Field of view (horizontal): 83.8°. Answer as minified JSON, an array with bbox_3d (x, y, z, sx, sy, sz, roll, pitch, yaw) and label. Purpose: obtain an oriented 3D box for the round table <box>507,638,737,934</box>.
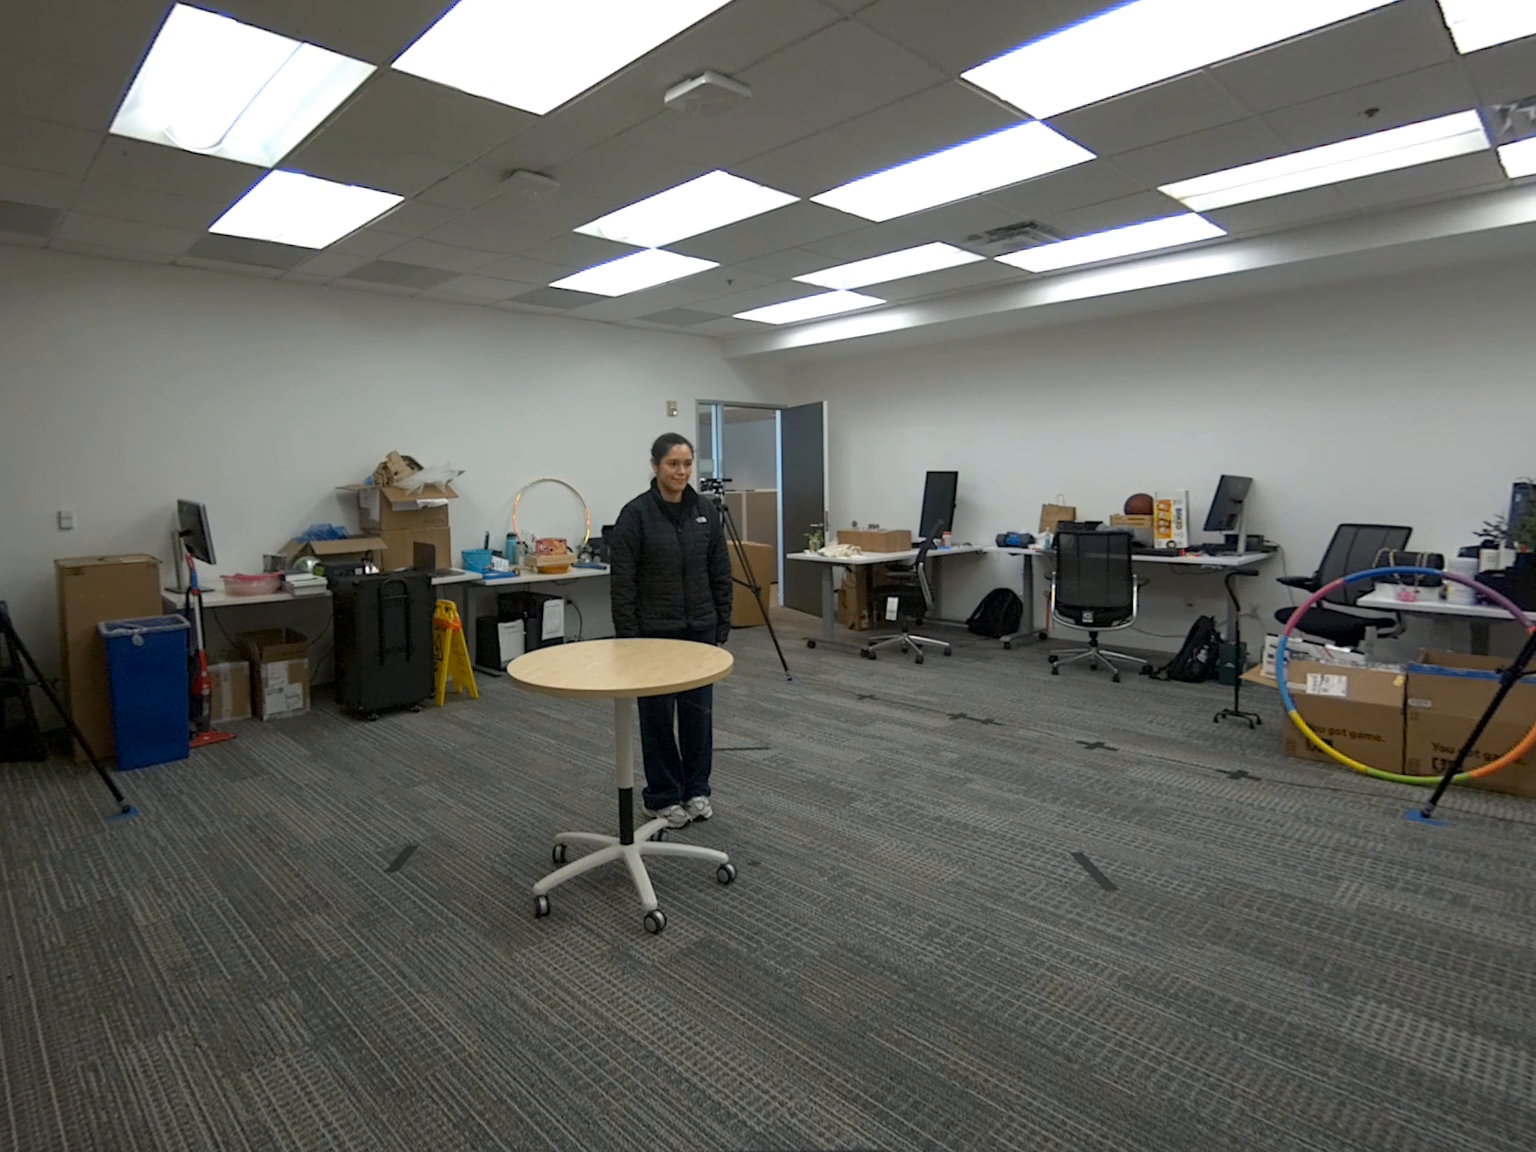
[{"bbox_3d":[-0.488,0.678,2.970,0.784,0.783,0.789,-1,5,-2],"label":"round table"}]
